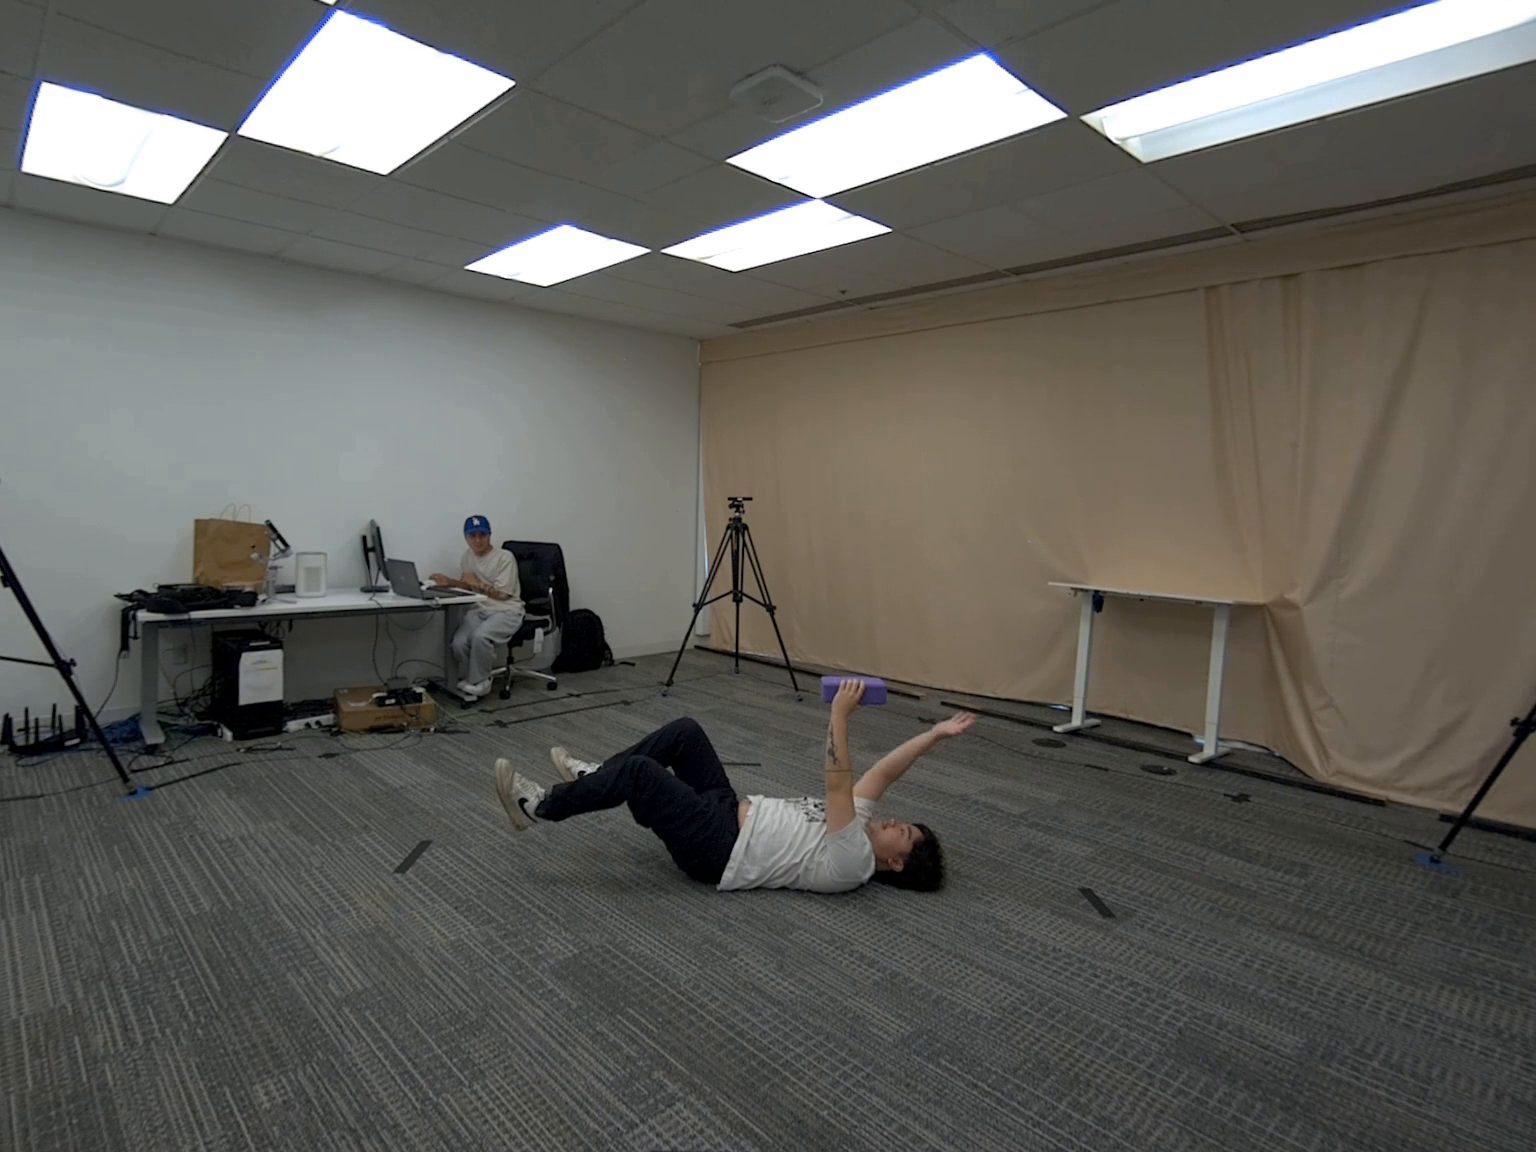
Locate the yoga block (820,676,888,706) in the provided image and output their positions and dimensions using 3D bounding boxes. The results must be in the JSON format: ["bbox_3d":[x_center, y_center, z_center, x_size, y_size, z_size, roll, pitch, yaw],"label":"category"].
[{"bbox_3d":[0.318,0.427,3.107,0.230,0.076,0.149,0,3,1],"label":"yoga block"}]
